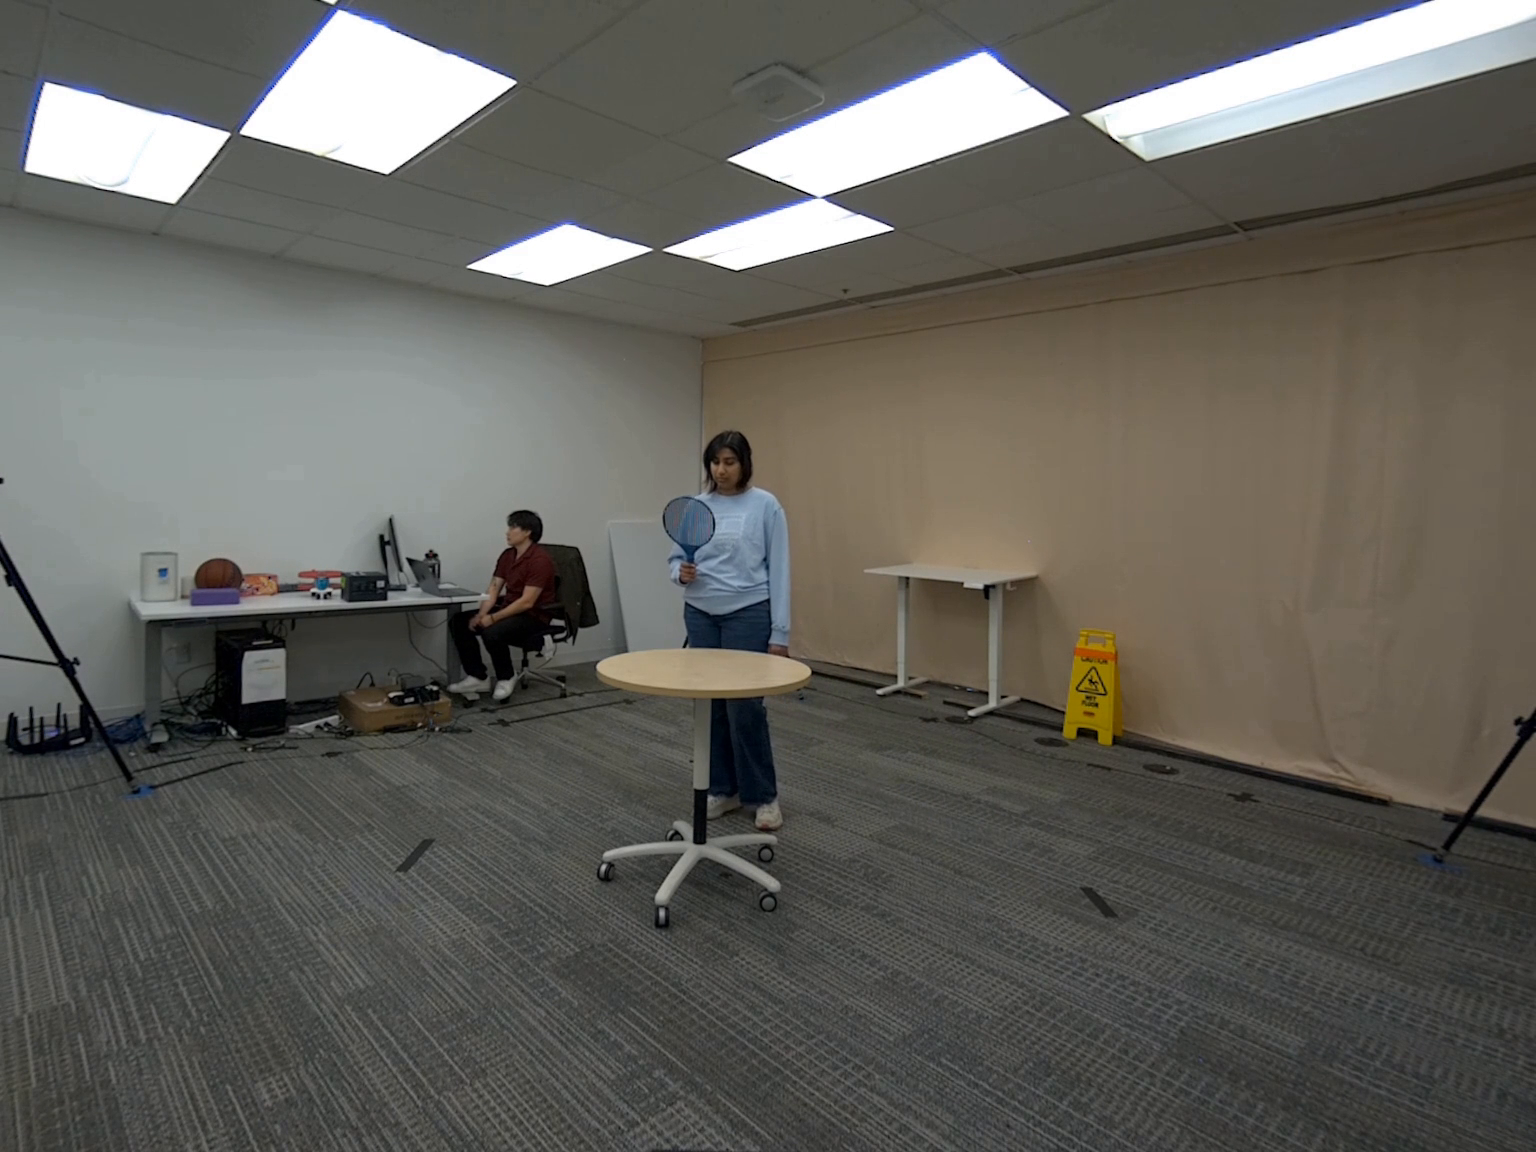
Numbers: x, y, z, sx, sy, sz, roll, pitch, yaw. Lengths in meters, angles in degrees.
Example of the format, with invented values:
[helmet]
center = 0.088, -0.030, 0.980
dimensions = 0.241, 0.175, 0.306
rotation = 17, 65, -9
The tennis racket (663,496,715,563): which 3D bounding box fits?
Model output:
[tennis racket]
center = -0.338, -0.157, 3.402
dimensions = 0.215, 0.422, 0.032
rotation = 0, 41, 8
